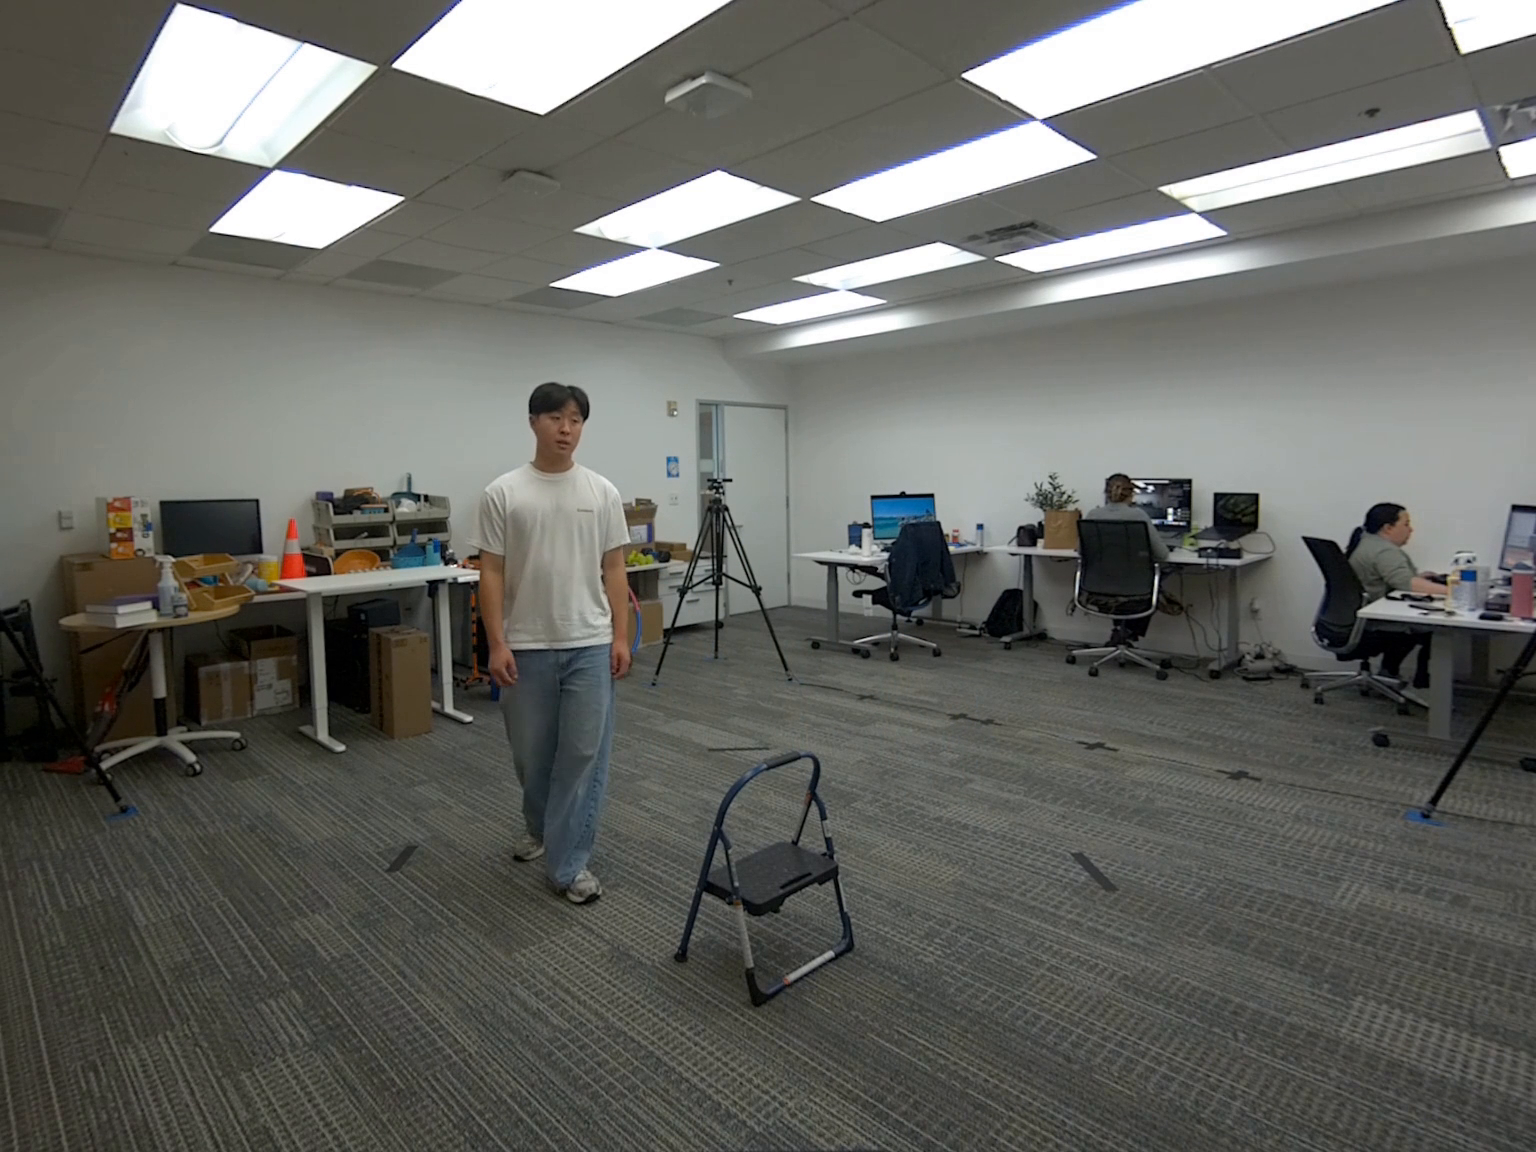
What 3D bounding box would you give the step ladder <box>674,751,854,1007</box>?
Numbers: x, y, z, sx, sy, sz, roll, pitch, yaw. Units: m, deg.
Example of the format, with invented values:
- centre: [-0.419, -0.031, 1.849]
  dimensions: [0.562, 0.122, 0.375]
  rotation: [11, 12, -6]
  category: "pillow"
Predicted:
- centre: [-0.008, 0.810, 2.500]
  dimensions: [0.360, 0.604, 0.419]
  rotation: [3, 6, 45]
  category: "step ladder"
